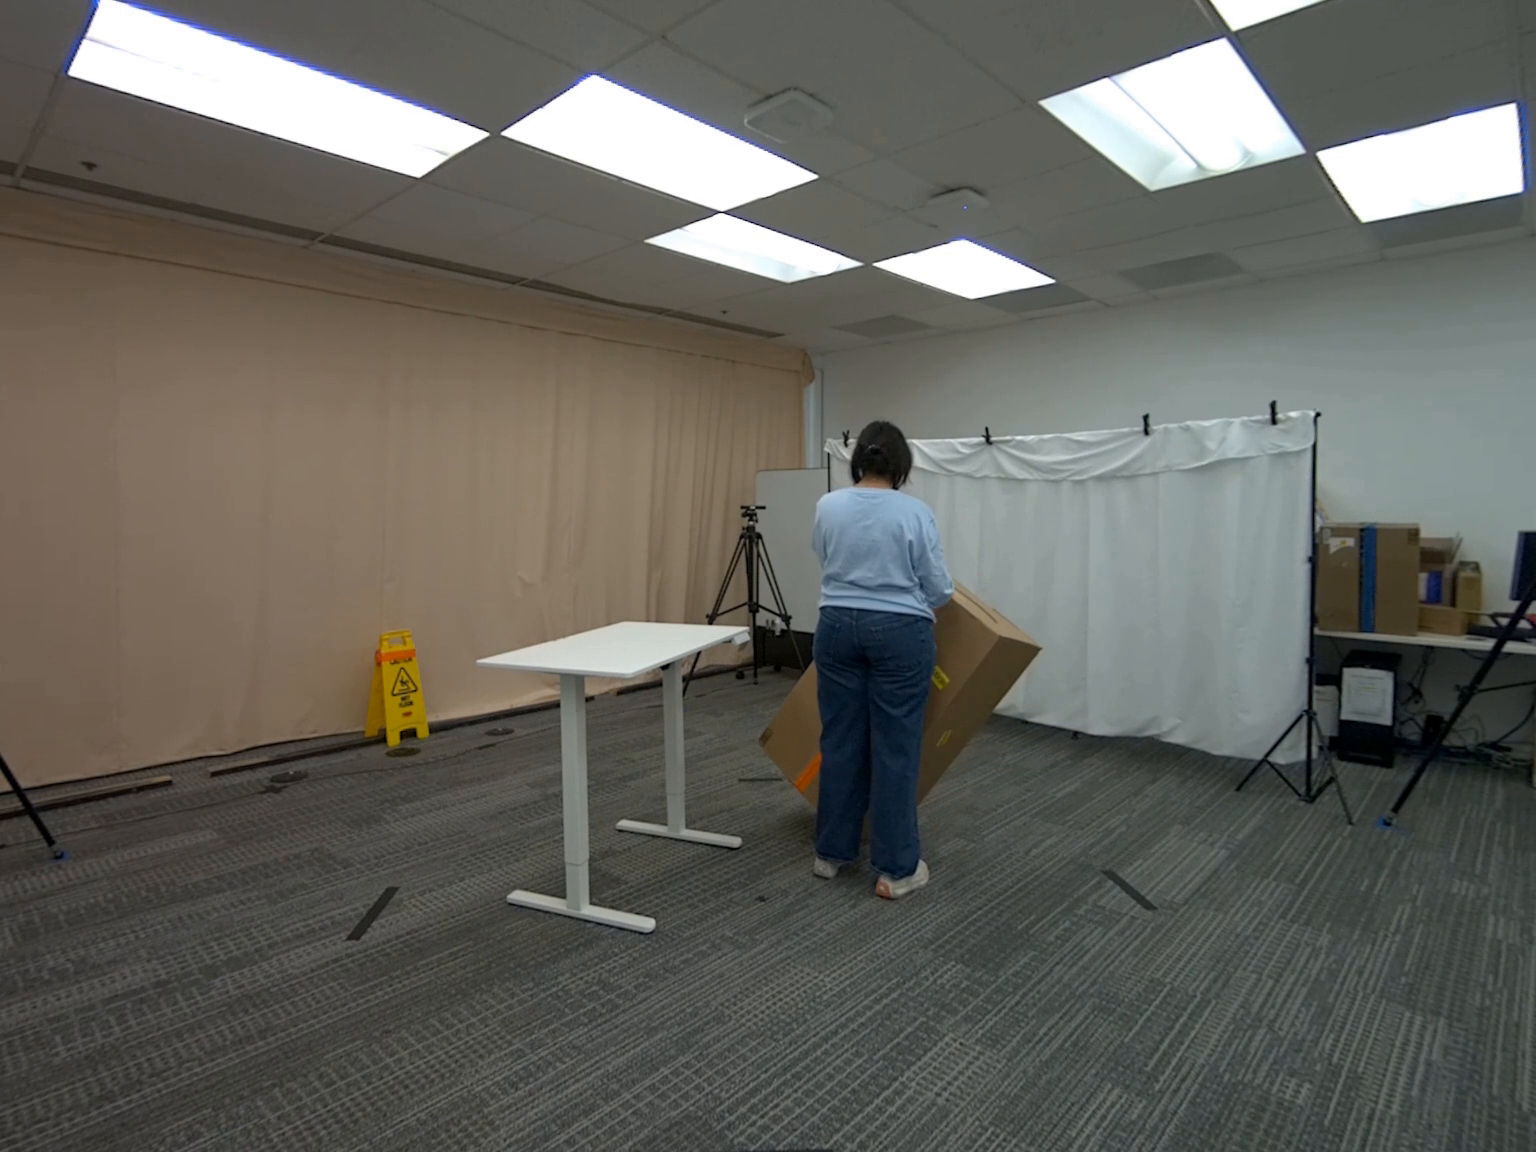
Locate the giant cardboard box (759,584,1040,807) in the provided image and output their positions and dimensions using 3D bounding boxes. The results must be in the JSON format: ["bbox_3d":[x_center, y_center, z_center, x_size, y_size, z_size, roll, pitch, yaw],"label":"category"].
[{"bbox_3d":[0.526,0.503,3.492,0.411,1.026,0.598,15,23,-51],"label":"giant cardboard box"}]
